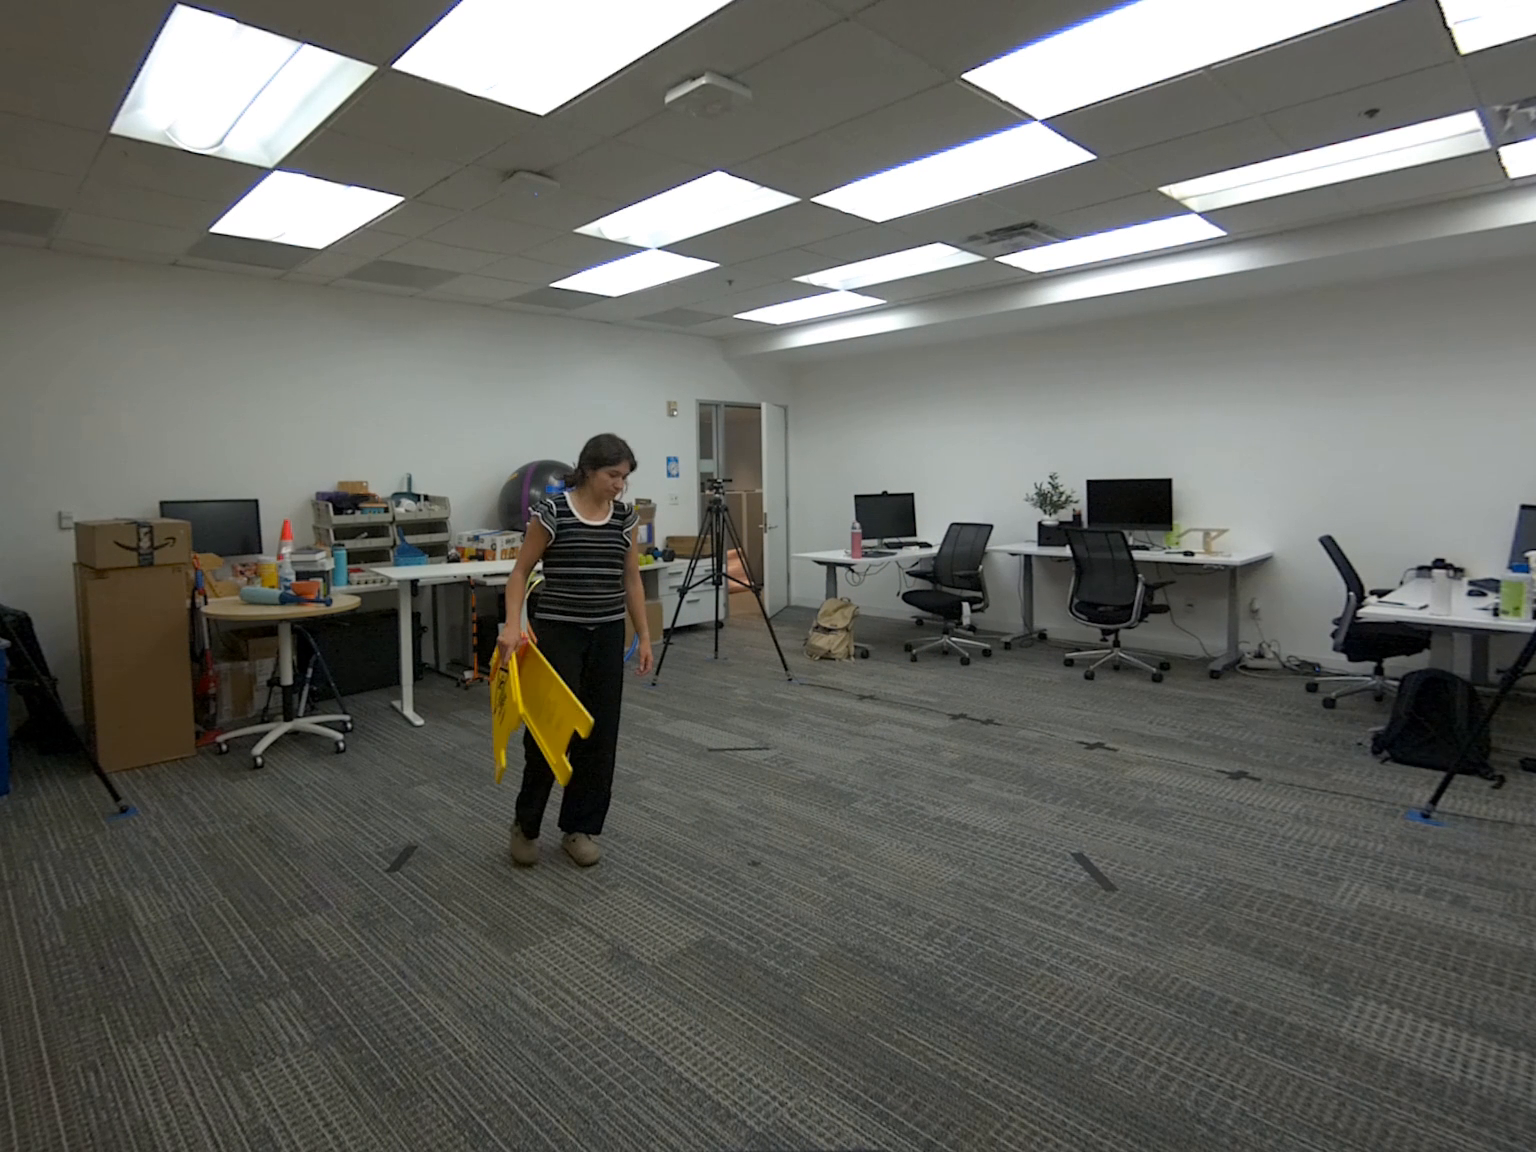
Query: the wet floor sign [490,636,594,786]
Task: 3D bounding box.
[{"bbox_3d":[-0.861,0.399,2.977,0.281,0.280,0.672,10,24,-36],"label":"wet floor sign"}]
